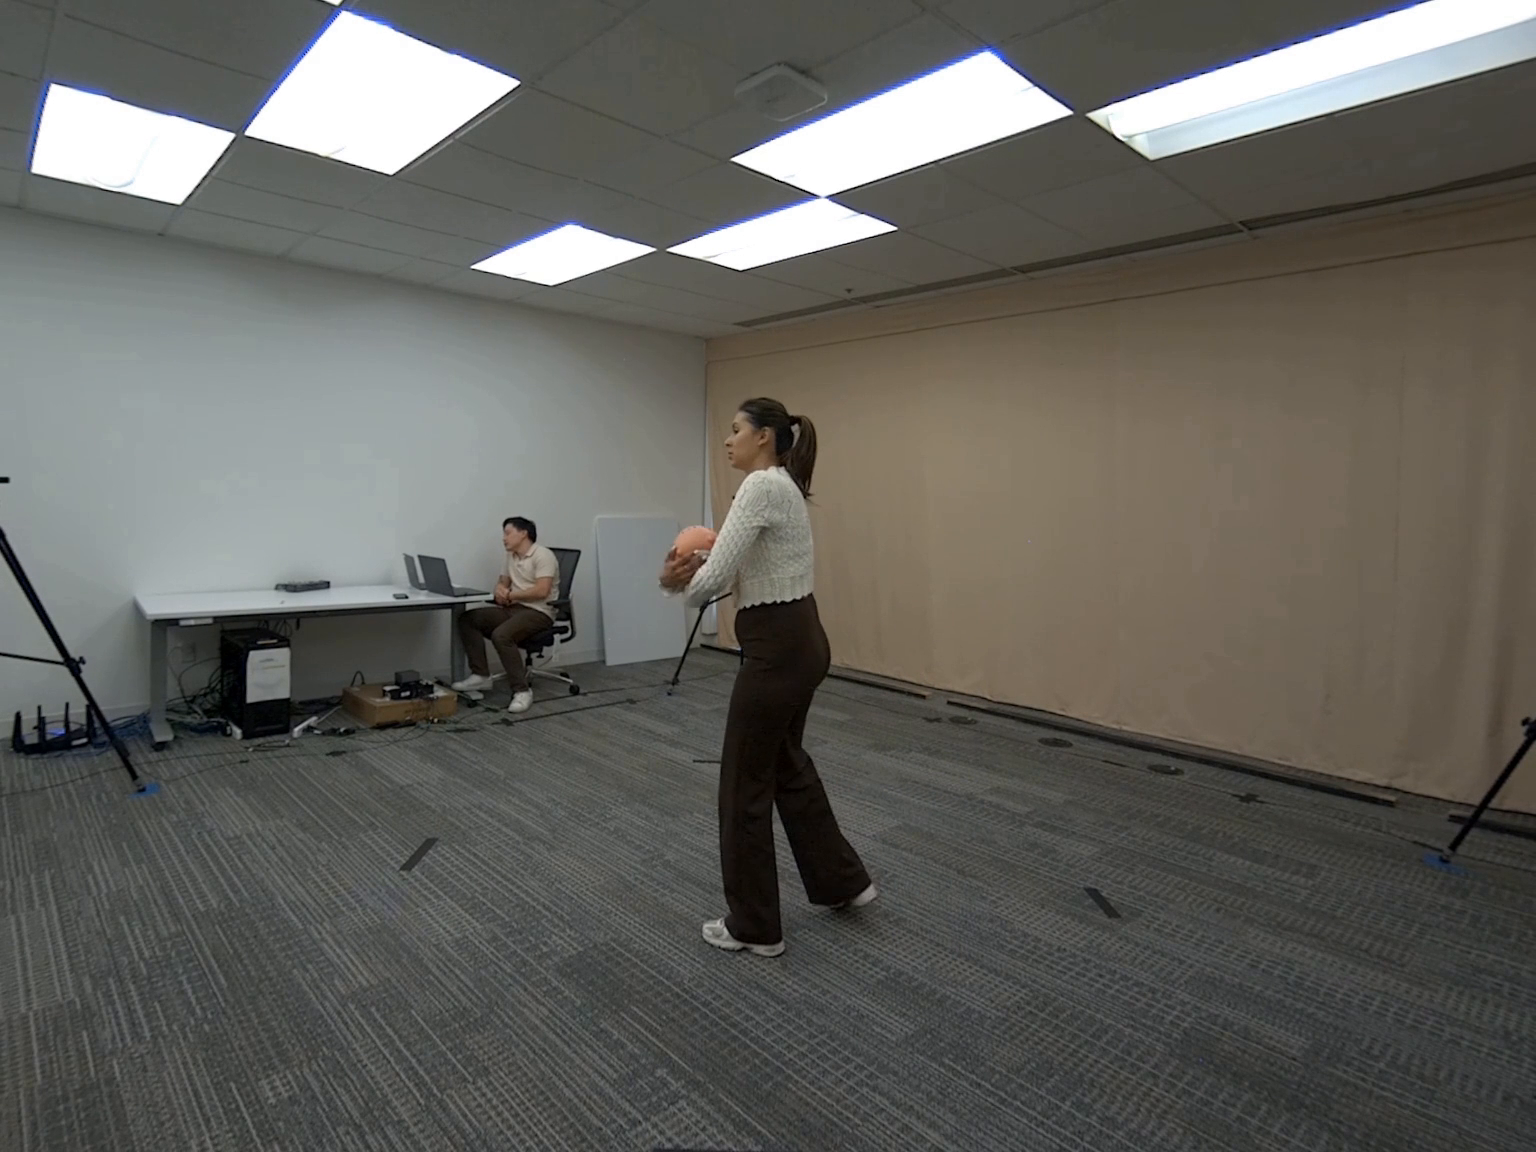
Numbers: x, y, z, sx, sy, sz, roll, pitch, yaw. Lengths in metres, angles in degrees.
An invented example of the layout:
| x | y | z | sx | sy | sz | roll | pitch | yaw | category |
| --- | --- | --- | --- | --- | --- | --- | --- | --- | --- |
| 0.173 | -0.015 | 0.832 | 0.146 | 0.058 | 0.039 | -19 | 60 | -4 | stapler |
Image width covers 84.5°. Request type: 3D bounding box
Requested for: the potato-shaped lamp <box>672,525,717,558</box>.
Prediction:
| x | y | z | sx | sy | sz | roll | pitch | yaw | category |
| --- | --- | --- | --- | --- | --- | --- | --- | --- | --- |
| -0.216 | -0.075 | 2.604 | 0.164 | 0.167 | 0.203 | -25 | 30 | -1 | potato-shaped lamp |
